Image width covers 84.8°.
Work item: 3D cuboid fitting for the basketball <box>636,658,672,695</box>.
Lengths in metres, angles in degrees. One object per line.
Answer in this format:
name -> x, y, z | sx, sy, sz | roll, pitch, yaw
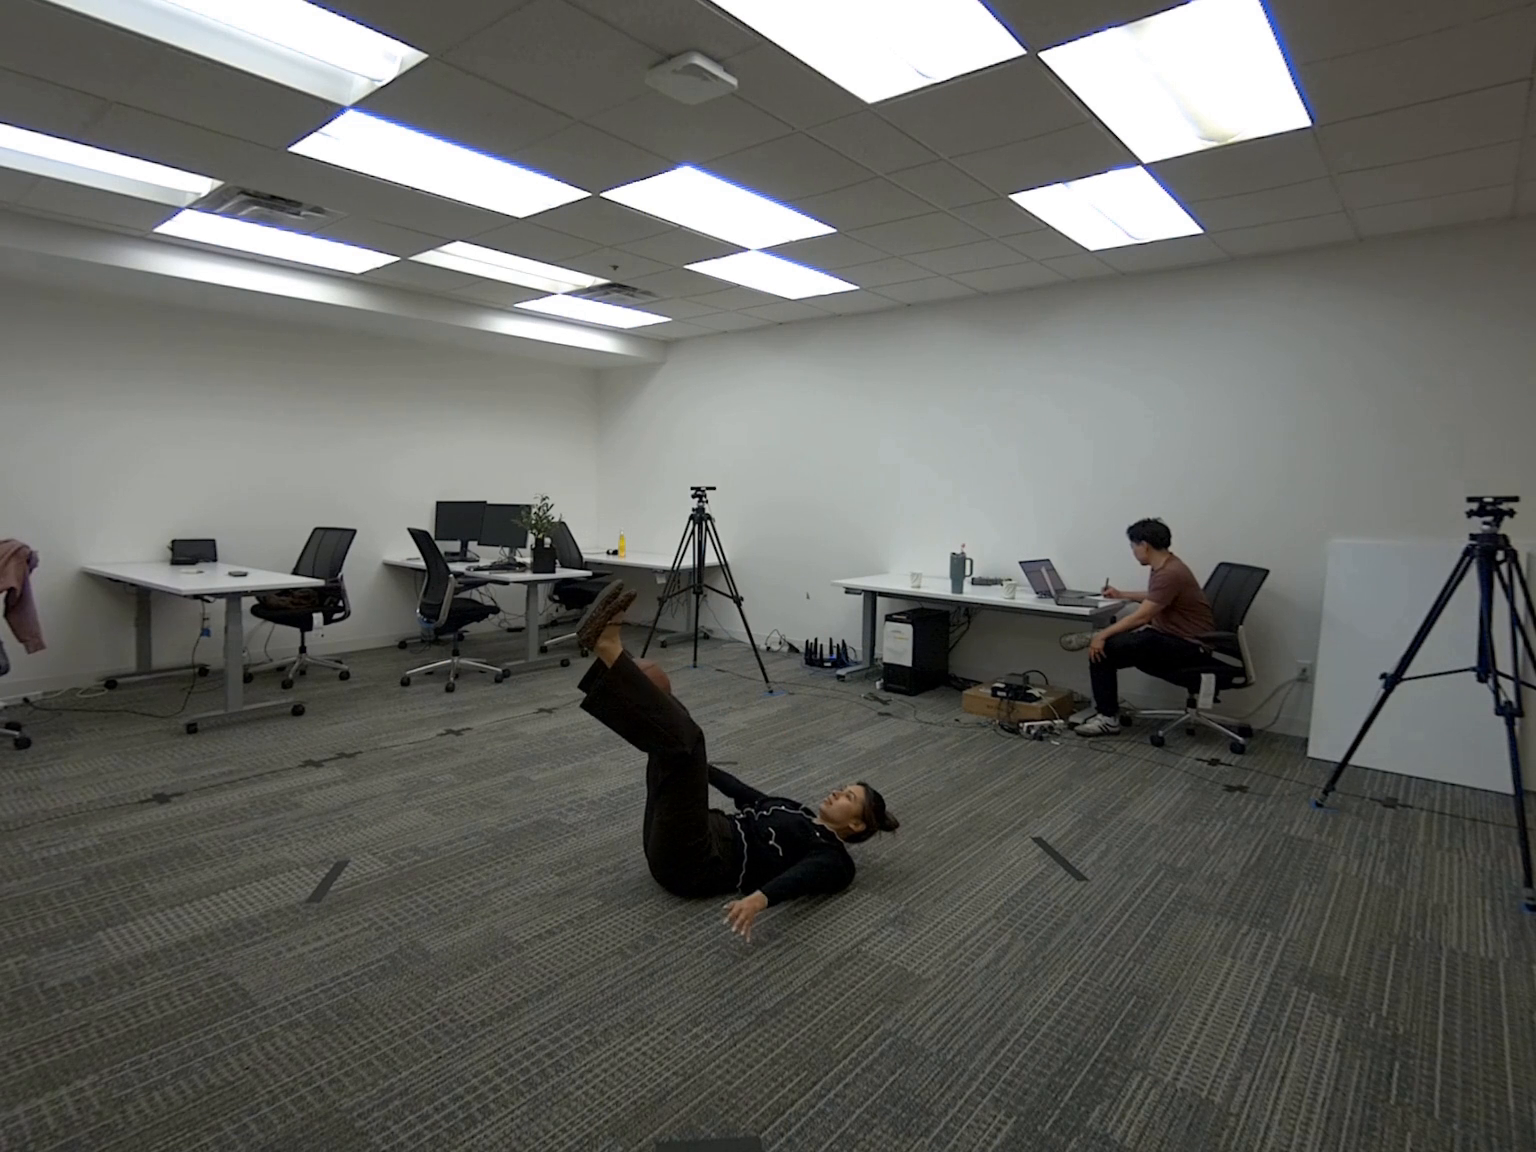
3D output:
basketball -> -0.459, 0.403, 2.957 | 0.236, 0.235, 0.237 | 1, 4, -2
